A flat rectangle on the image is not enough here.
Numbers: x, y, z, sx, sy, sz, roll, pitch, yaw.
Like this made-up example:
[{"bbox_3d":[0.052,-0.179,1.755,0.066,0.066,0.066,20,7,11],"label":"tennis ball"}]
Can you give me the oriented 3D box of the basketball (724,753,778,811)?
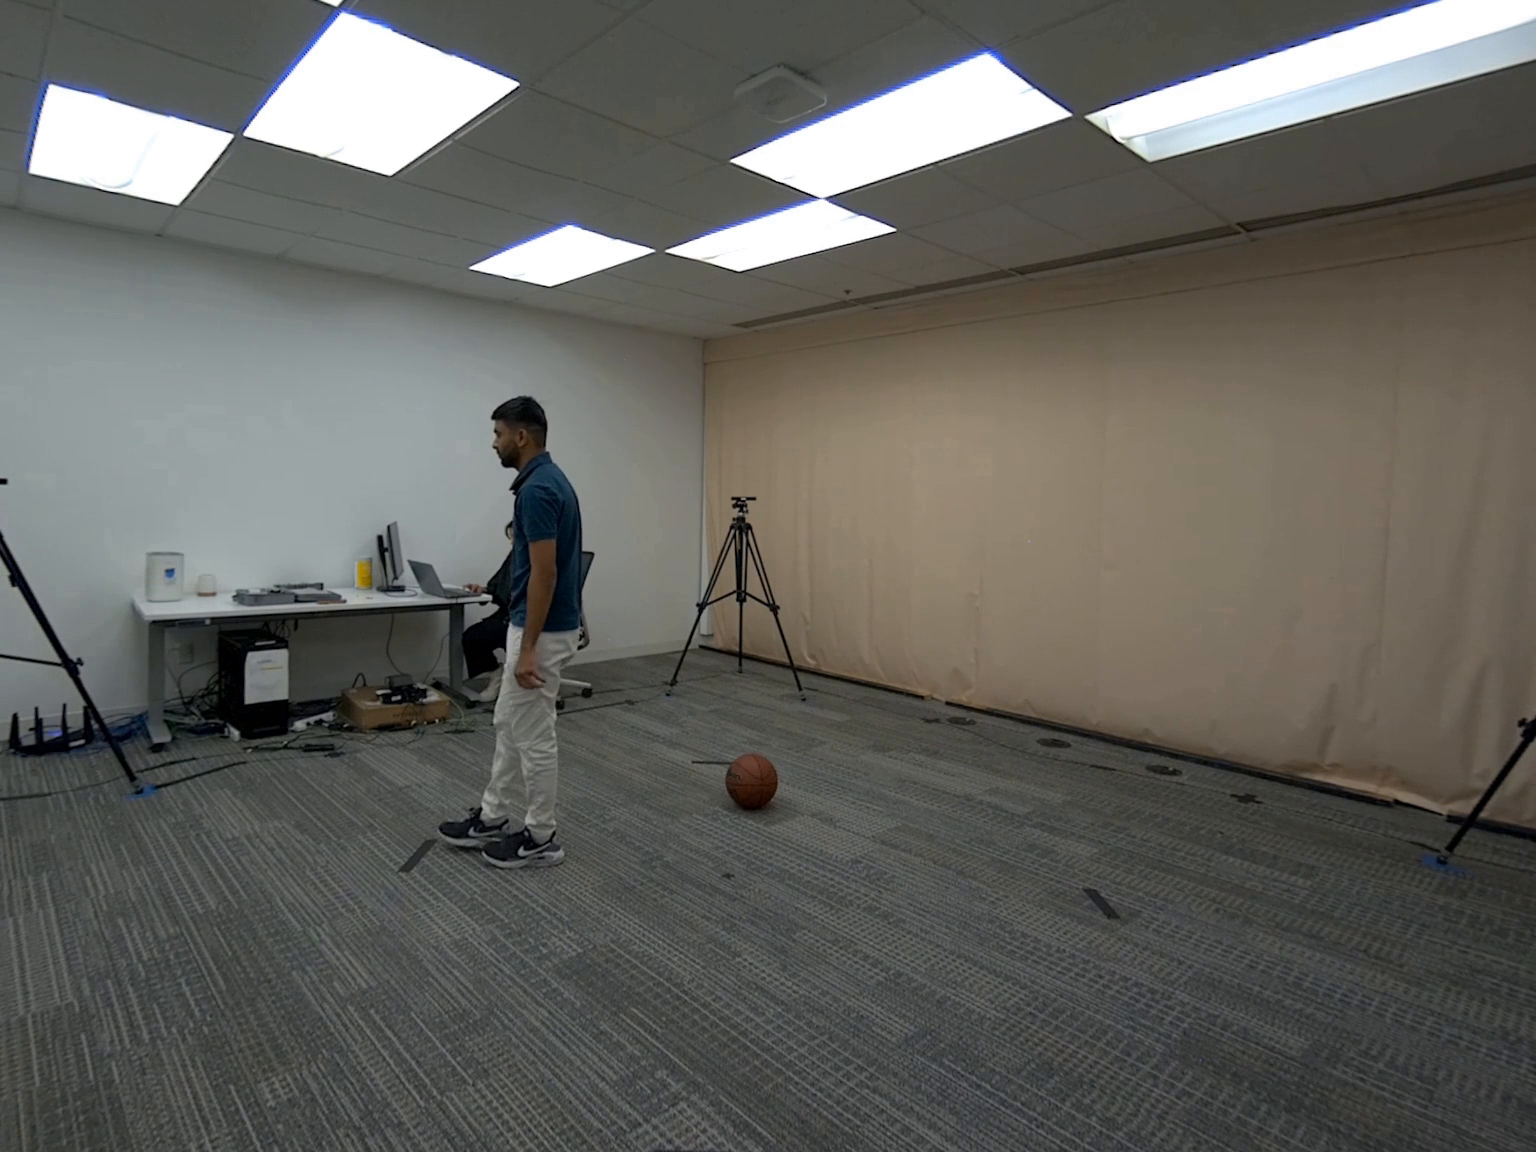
[{"bbox_3d":[-0.082,0.926,3.814,0.236,0.235,0.237,1,4,-1],"label":"basketball"}]
